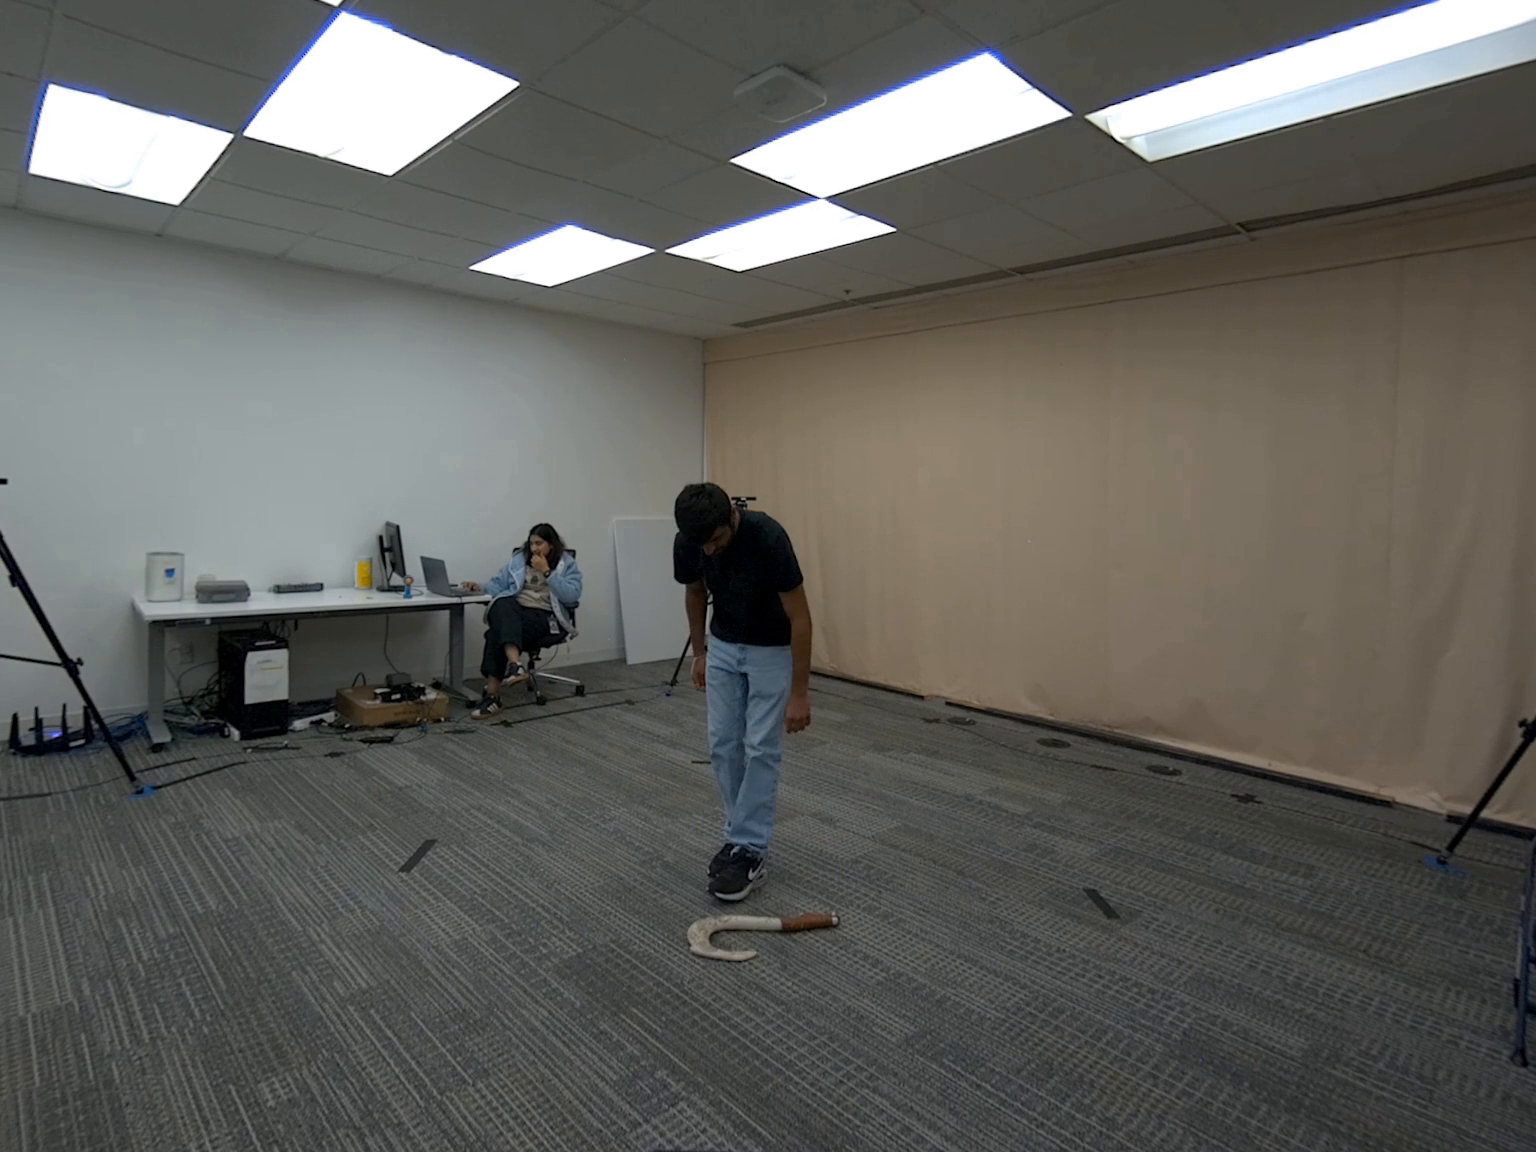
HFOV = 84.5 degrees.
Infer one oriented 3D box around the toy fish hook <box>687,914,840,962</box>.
[{"bbox_3d":[-0.002,1.136,2.653,0.502,0.048,0.228,0,13,-12],"label":"toy fish hook"}]
